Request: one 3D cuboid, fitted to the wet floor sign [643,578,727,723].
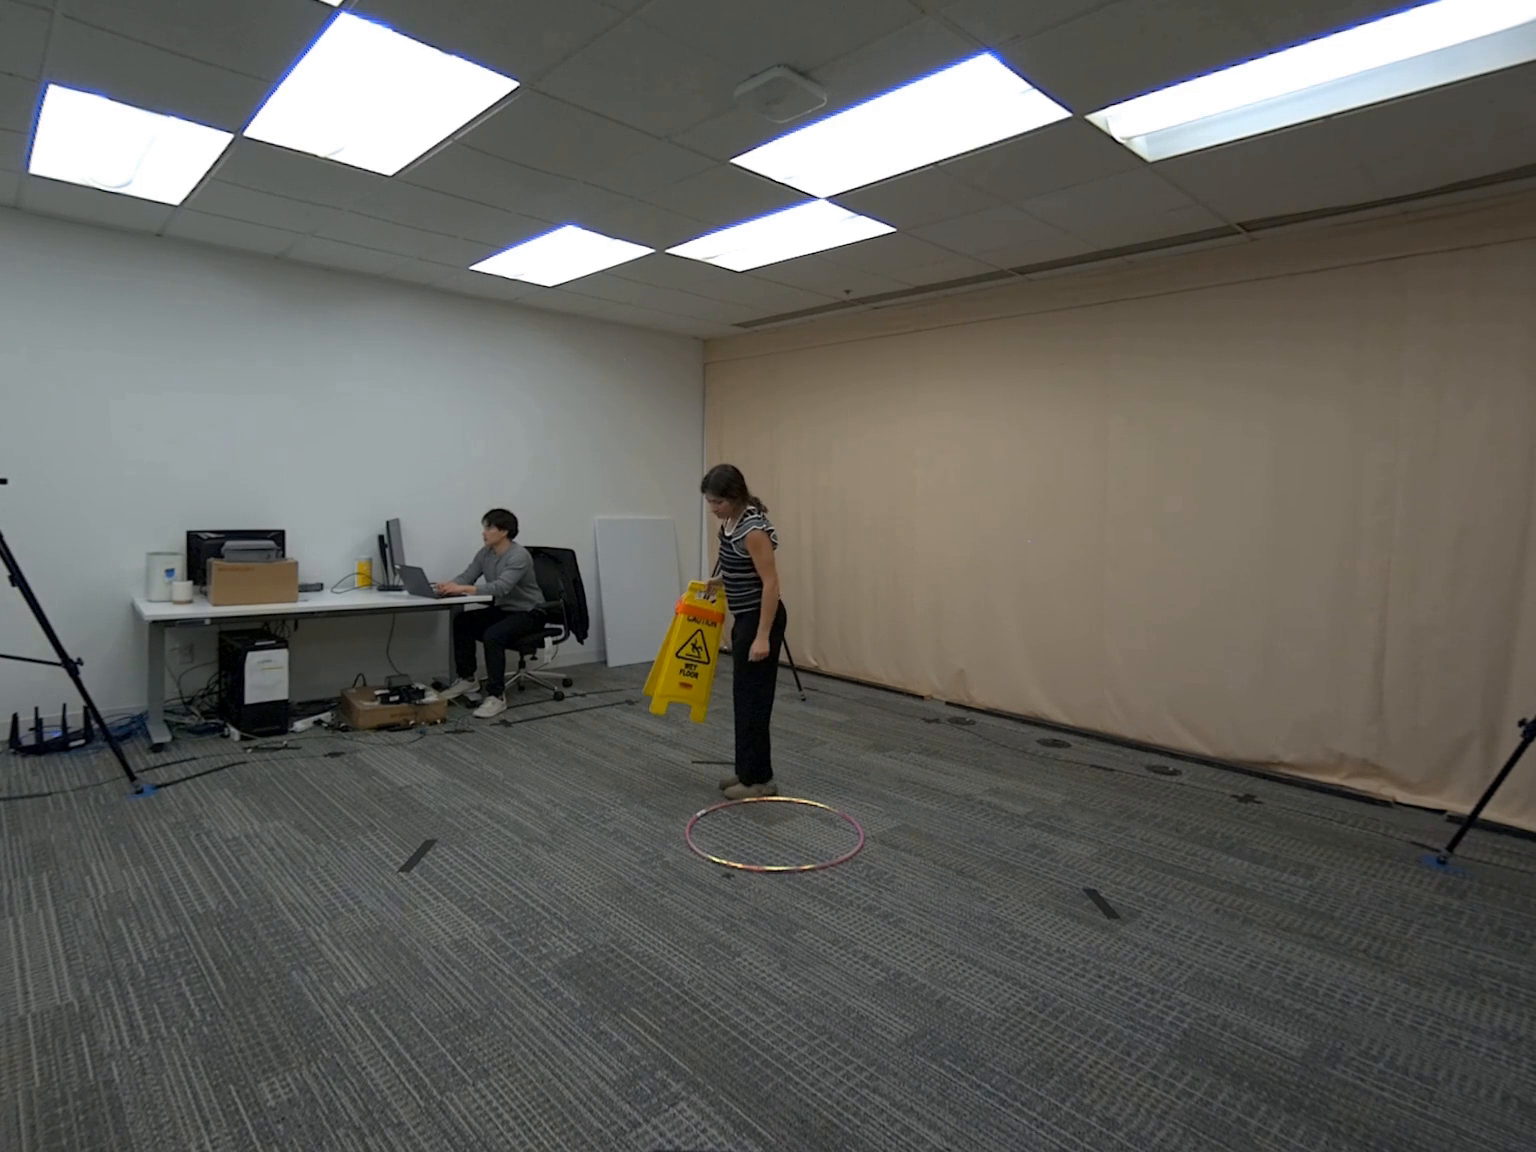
[{"bbox_3d":[-0.379,0.355,4.106,0.278,0.643,0.295,13,9,-17],"label":"wet floor sign"}]
